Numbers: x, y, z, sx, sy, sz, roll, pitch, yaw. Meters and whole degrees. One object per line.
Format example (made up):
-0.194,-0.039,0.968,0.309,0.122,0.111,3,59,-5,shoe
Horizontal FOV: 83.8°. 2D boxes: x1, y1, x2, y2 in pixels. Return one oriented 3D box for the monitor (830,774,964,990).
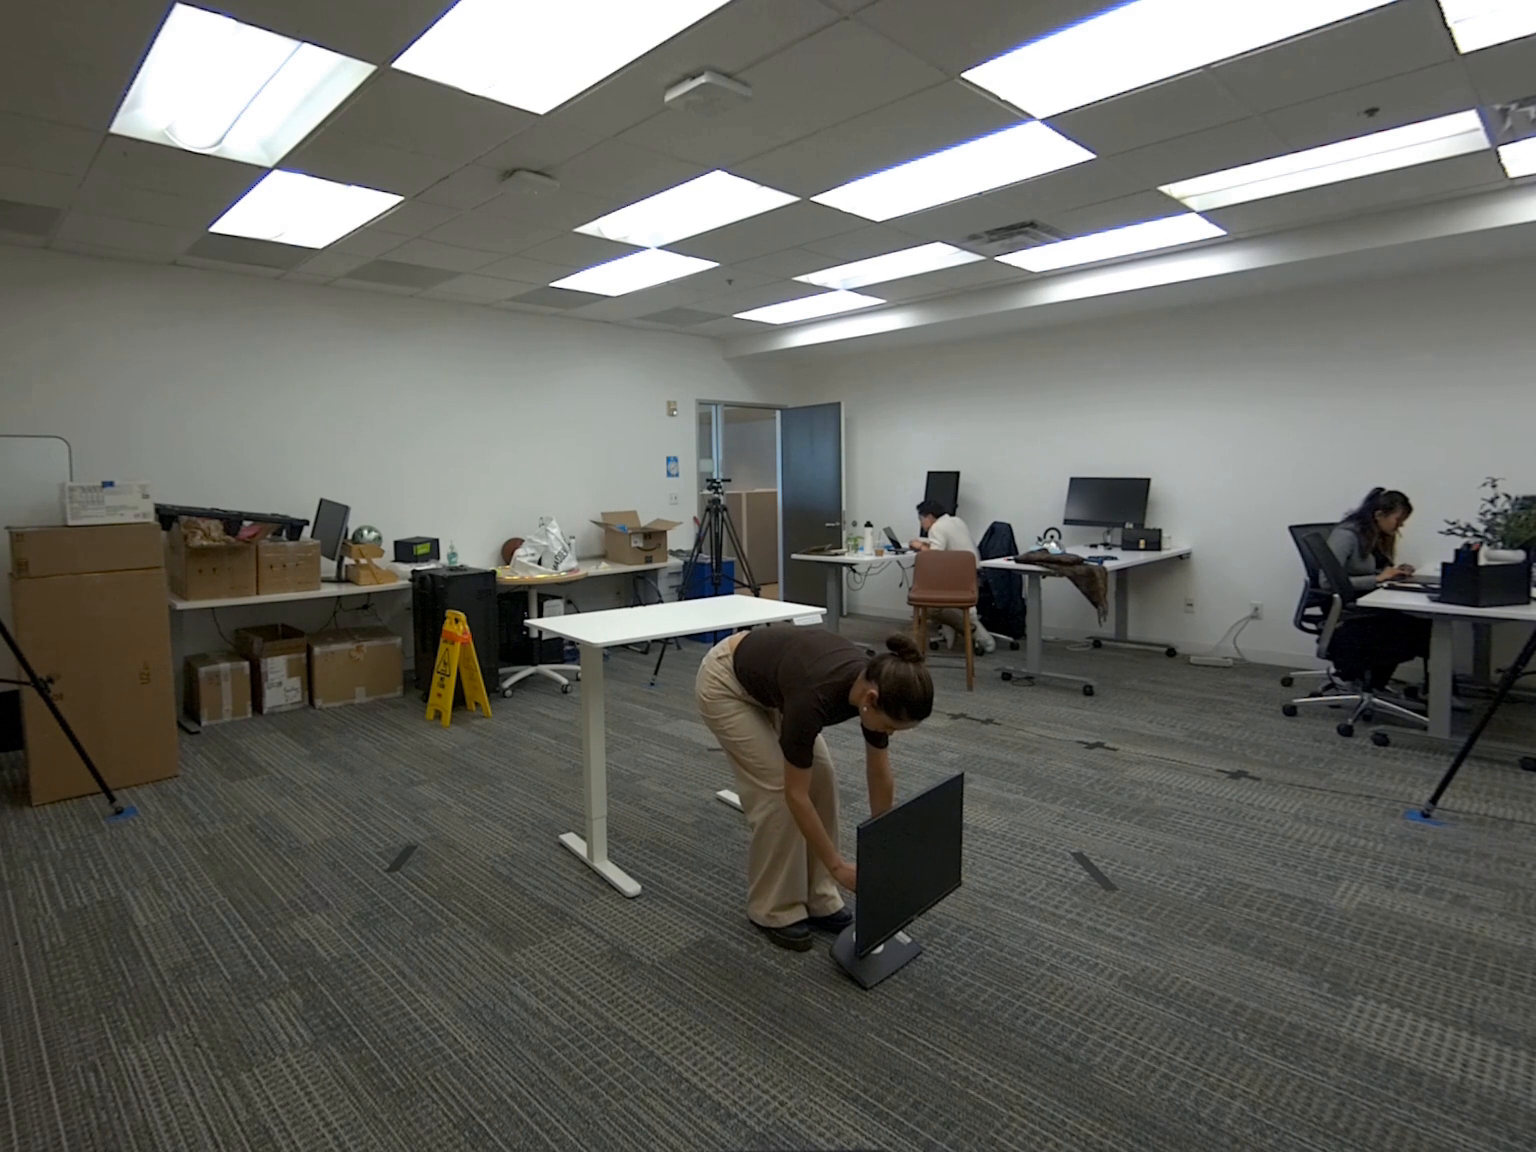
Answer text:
0.350,0.848,2.407,0.194,0.517,0.525,22,18,37,monitor
